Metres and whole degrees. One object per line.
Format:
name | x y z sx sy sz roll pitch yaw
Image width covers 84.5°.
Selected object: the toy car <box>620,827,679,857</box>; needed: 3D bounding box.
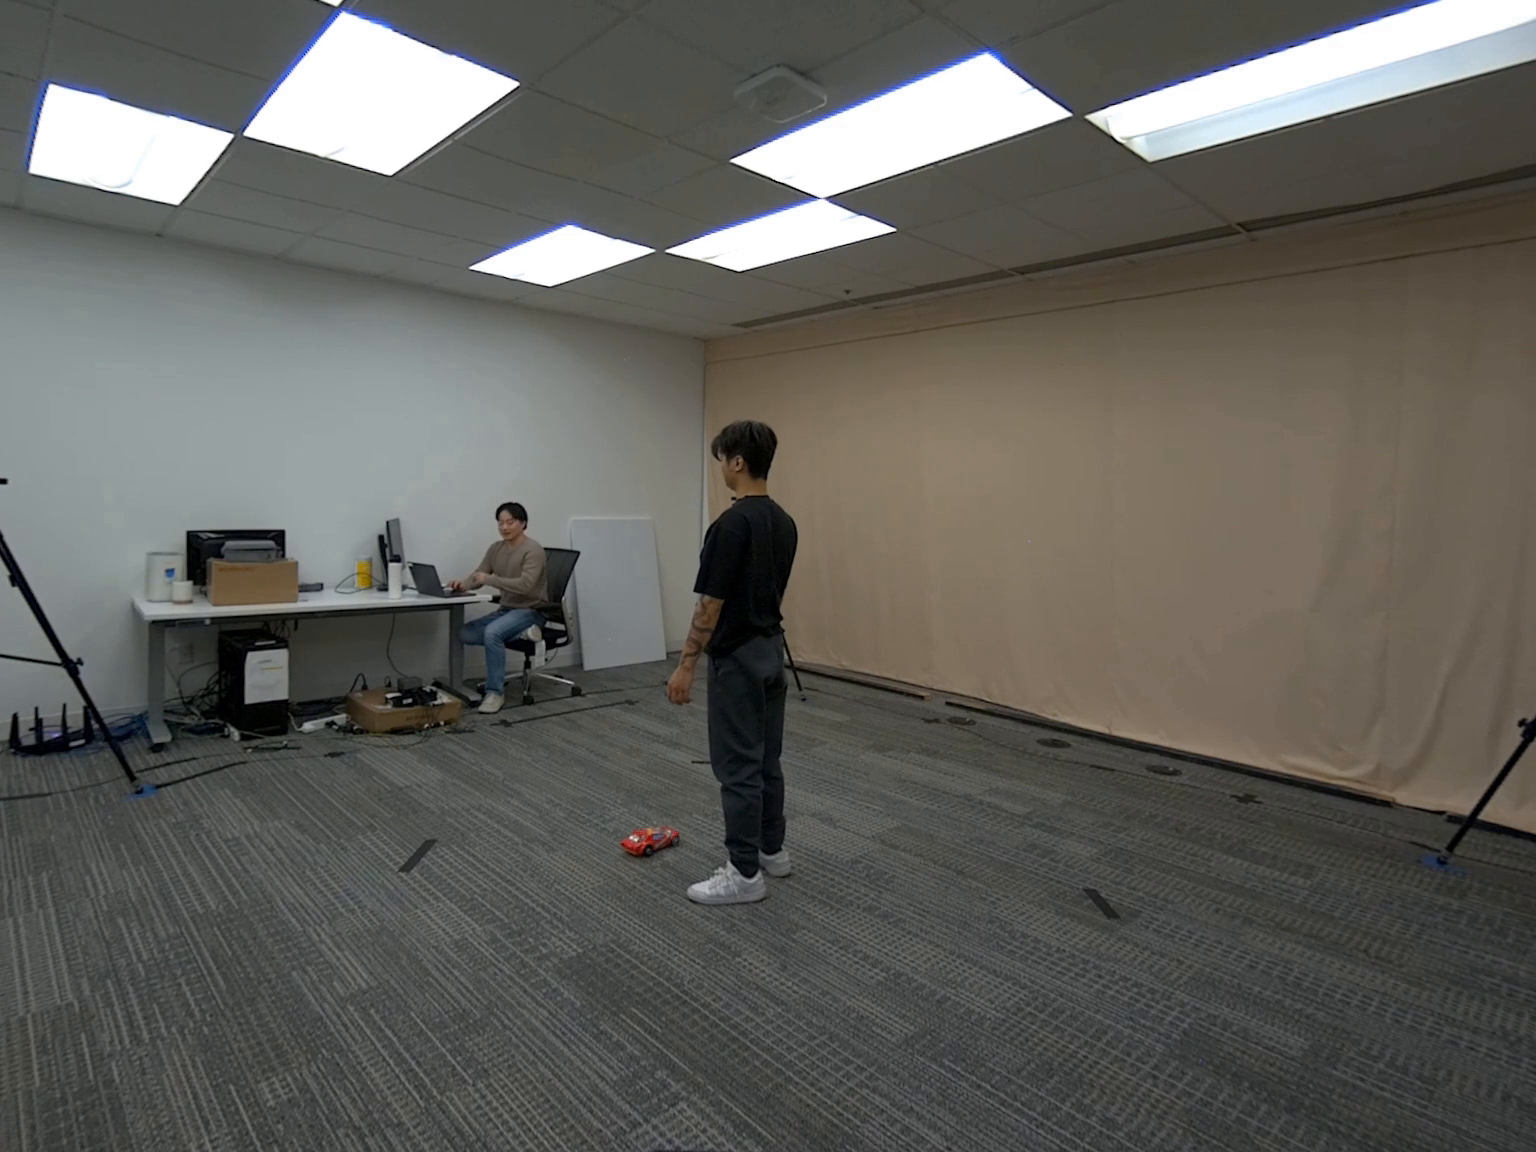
toy car | -0.476 1.048 3.325 0.133 0.083 0.247 6 -3 43
